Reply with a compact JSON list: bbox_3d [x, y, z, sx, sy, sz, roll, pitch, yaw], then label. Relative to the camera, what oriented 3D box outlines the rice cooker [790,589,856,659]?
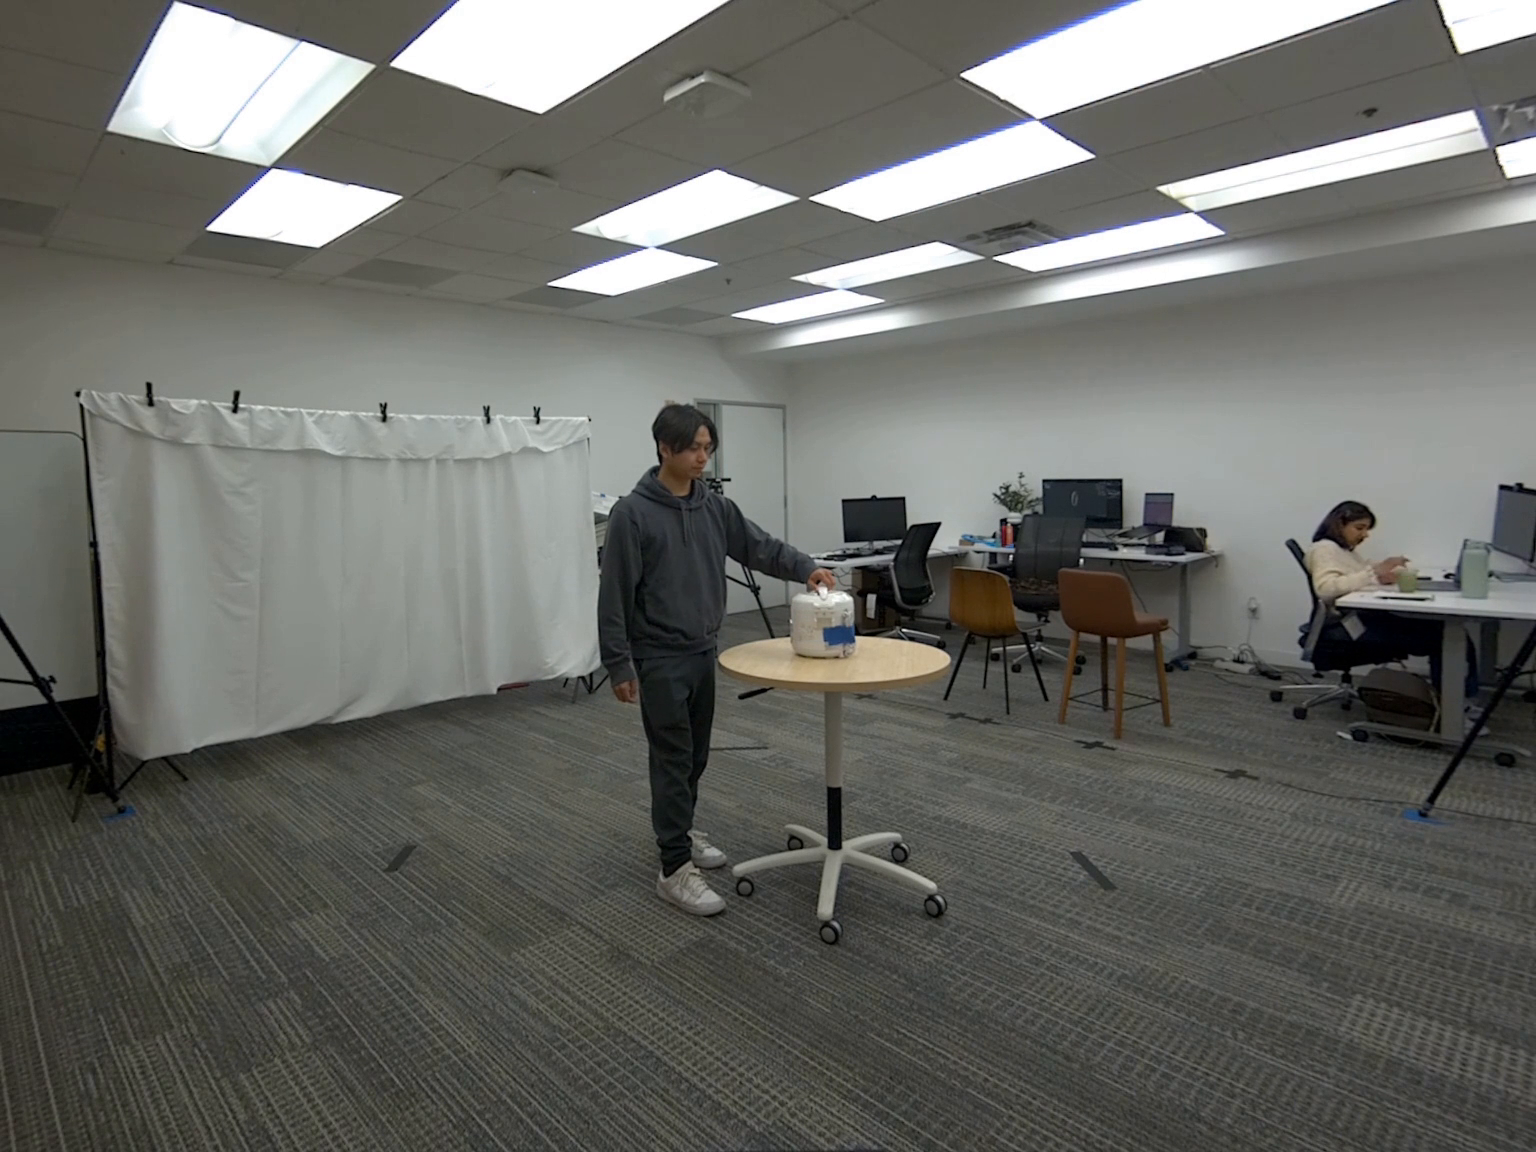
[{"bbox_3d":[0.181,0.149,2.893,0.218,0.232,0.220,0,4,3],"label":"rice cooker"}]
